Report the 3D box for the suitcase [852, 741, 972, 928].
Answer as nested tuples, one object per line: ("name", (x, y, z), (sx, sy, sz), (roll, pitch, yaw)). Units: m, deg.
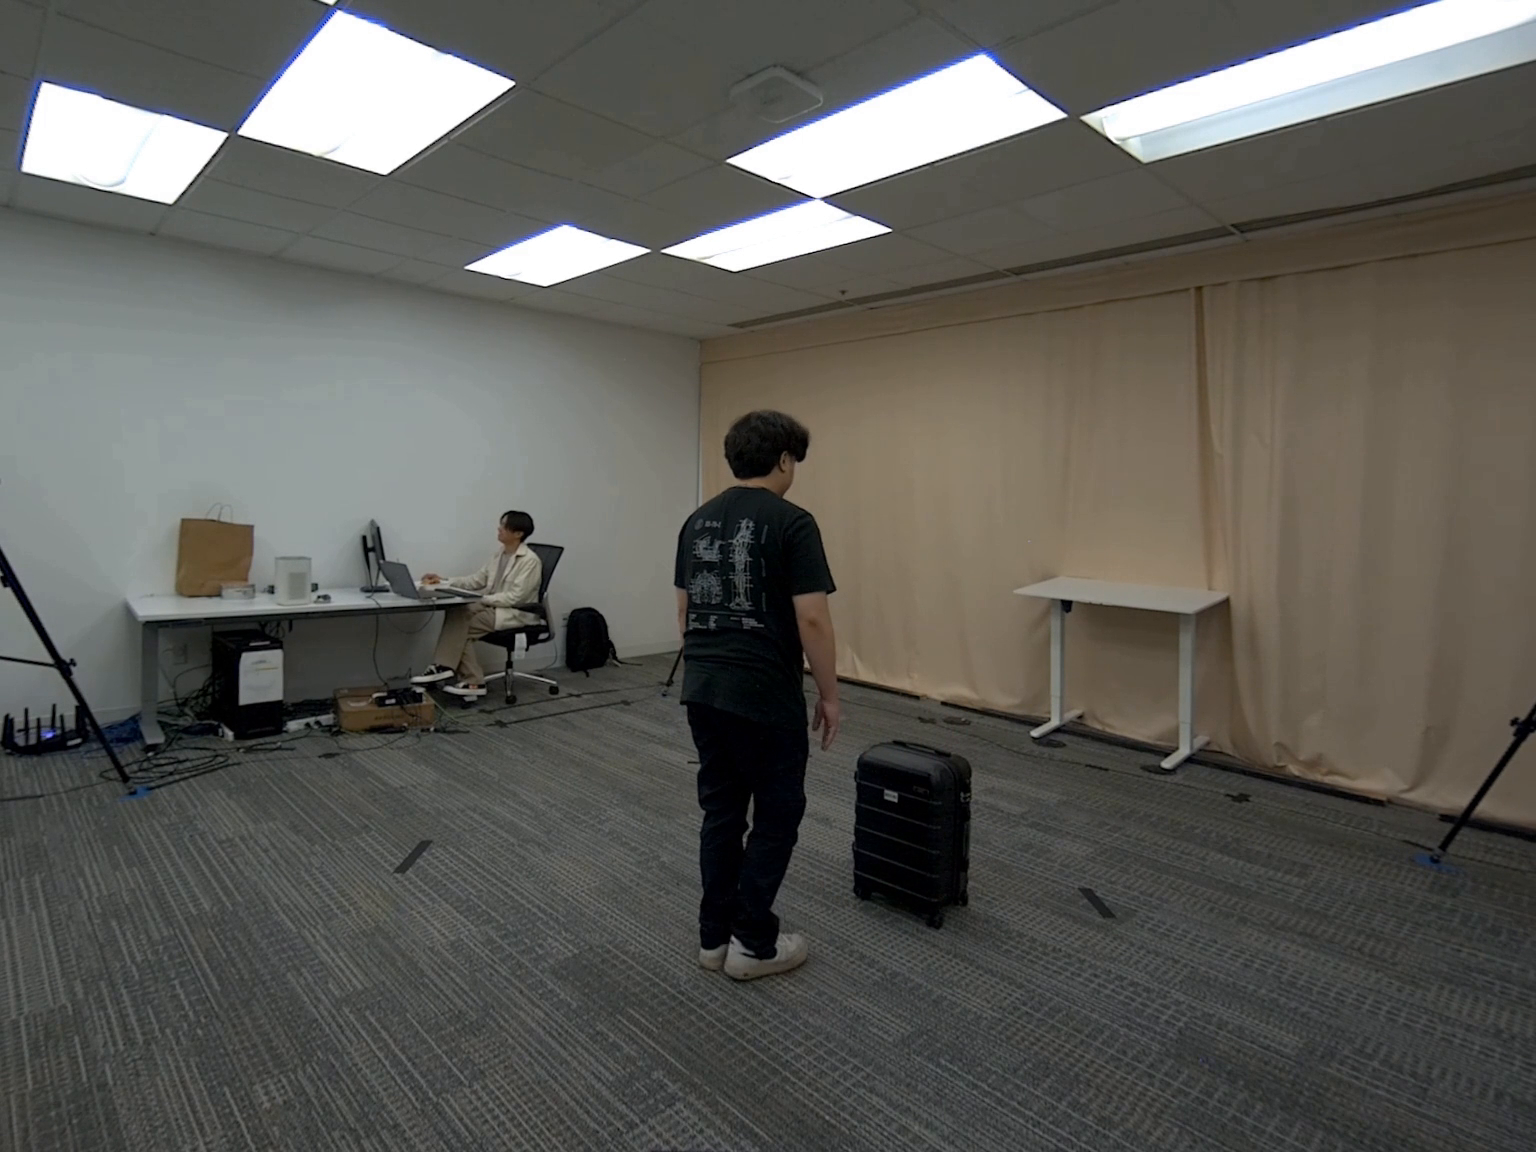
("suitcase", (0.496, 0.864, 2.911), (0.385, 0.547, 0.243), (6, 7, 41))
